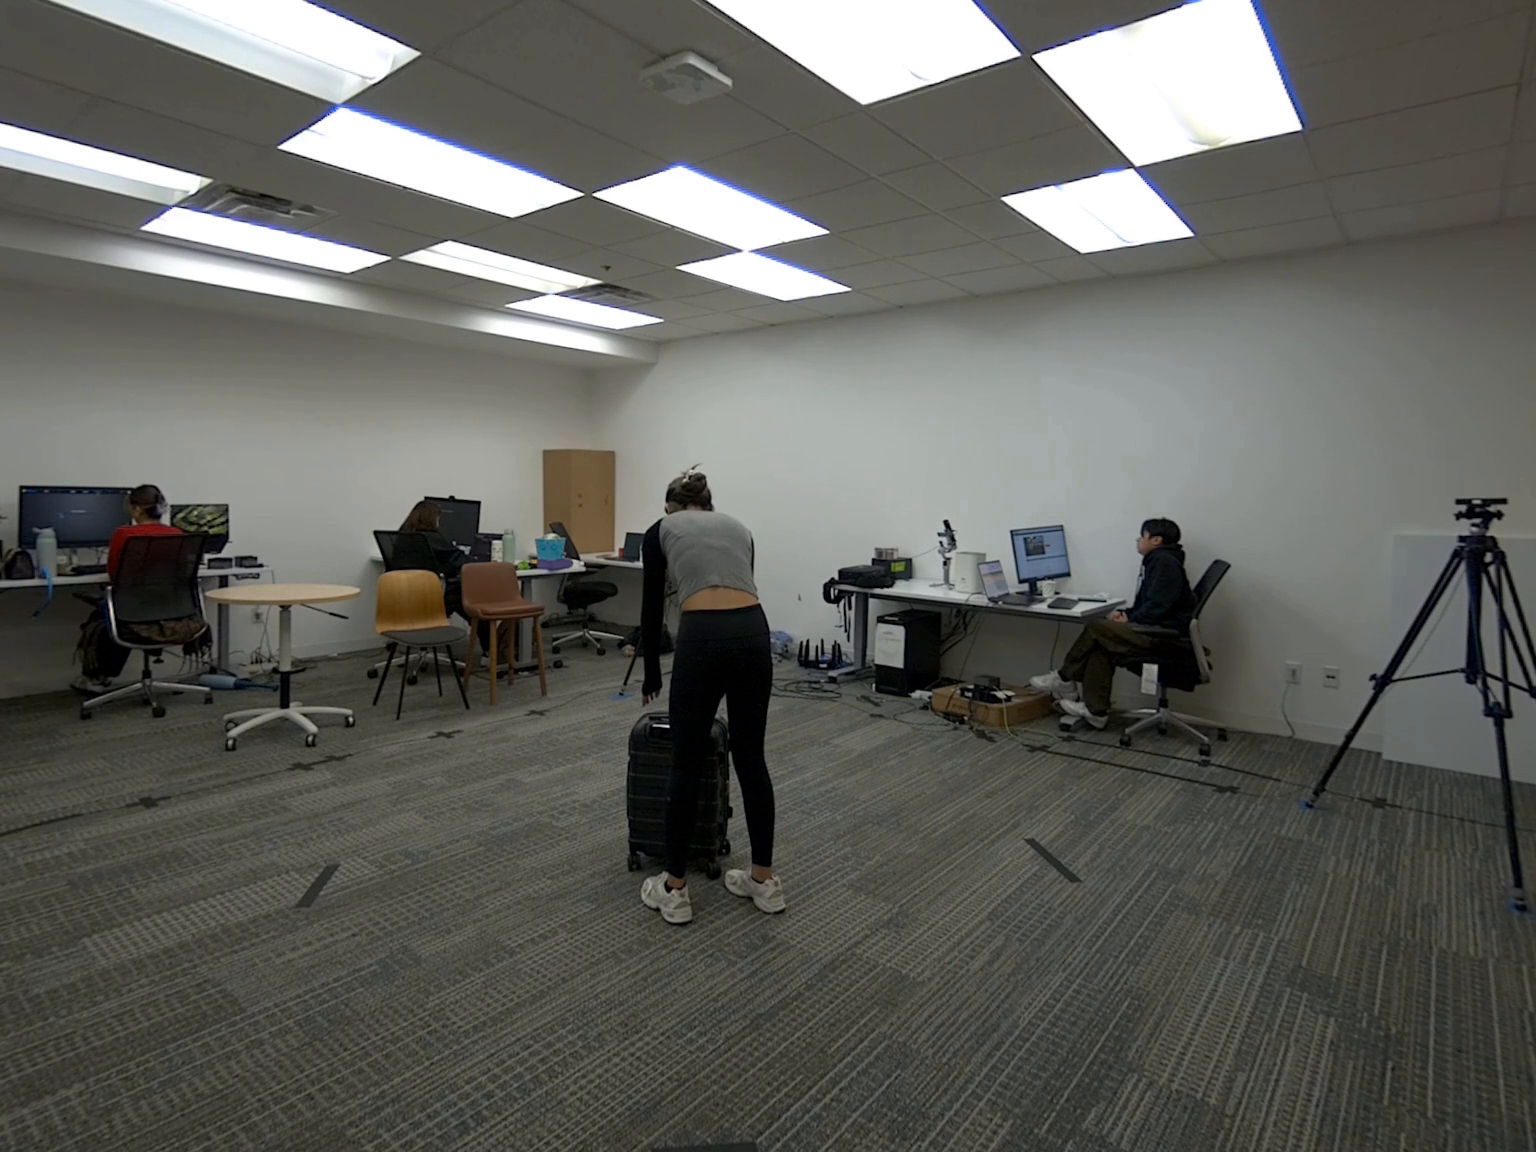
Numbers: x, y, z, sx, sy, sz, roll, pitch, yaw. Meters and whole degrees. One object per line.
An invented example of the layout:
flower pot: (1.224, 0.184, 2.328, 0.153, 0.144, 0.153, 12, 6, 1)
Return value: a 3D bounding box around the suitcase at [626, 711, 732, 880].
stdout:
suitcase: (-0.344, 0.783, 3.185, 0.380, 0.549, 0.245, 1, 1, 12)
